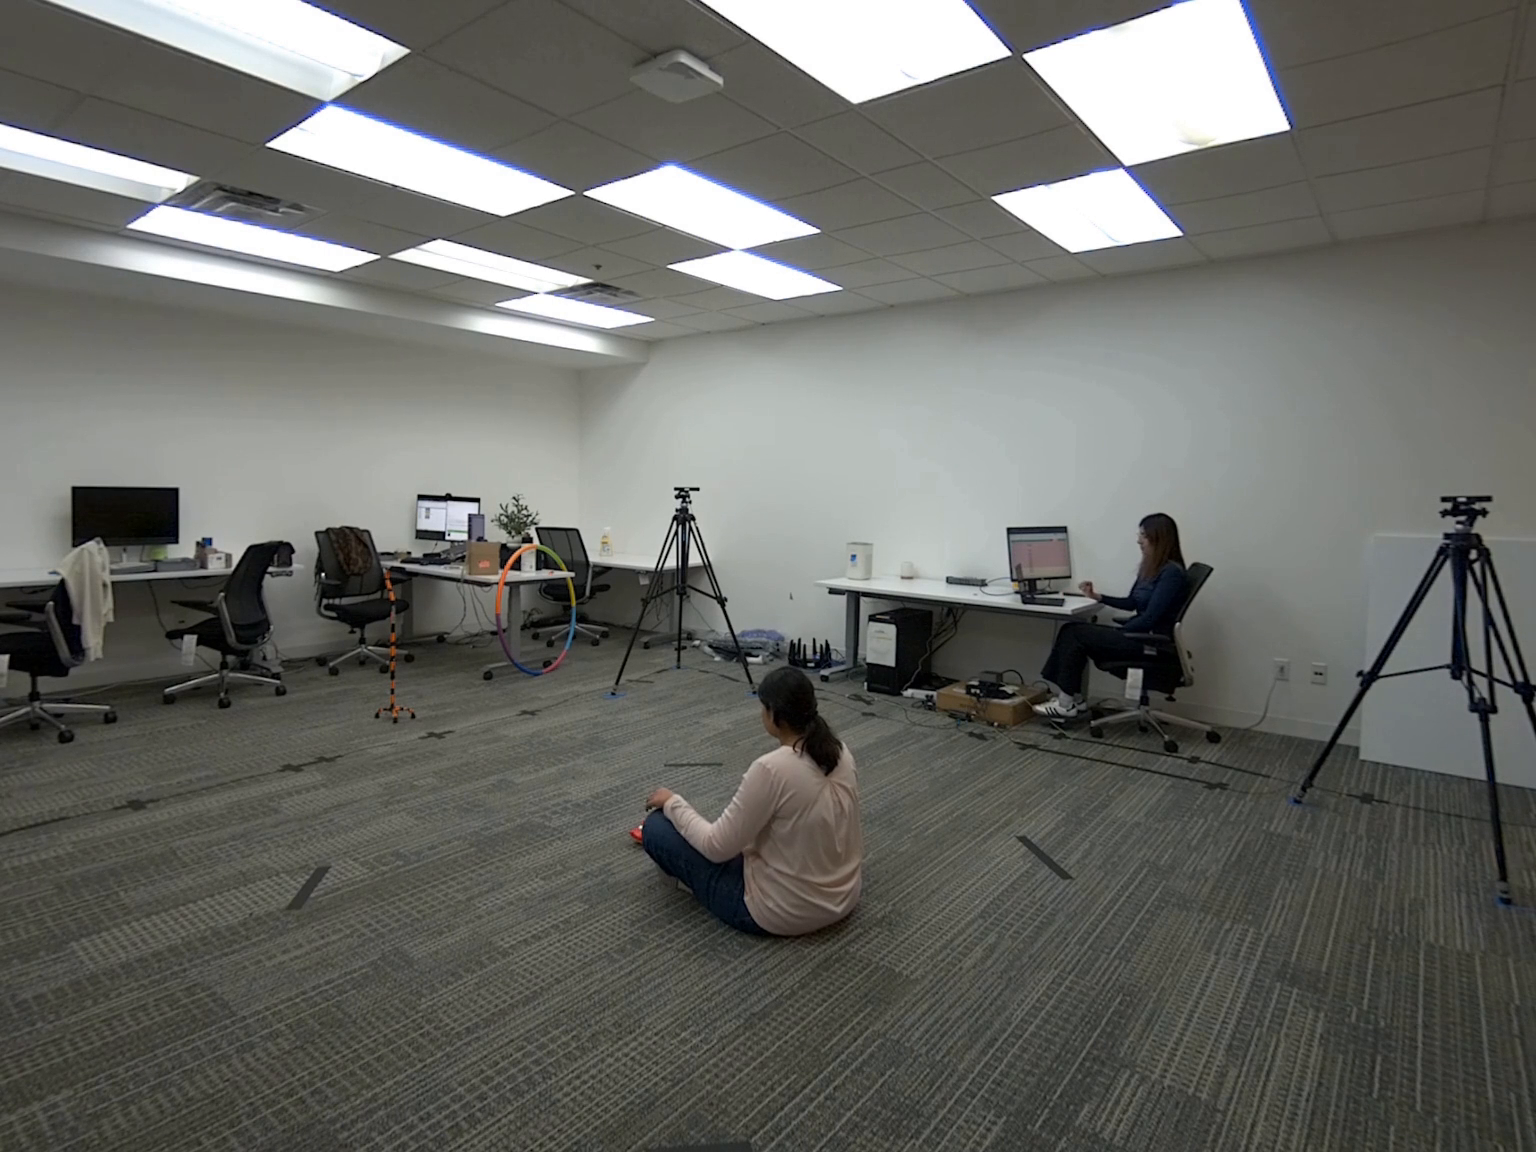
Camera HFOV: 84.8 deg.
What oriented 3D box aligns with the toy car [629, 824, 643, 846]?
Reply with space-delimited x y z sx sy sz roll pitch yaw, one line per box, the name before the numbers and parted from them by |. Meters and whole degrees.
toy car | -0.443 0.998 3.356 0.245 0.083 0.135 11 -4 -44
